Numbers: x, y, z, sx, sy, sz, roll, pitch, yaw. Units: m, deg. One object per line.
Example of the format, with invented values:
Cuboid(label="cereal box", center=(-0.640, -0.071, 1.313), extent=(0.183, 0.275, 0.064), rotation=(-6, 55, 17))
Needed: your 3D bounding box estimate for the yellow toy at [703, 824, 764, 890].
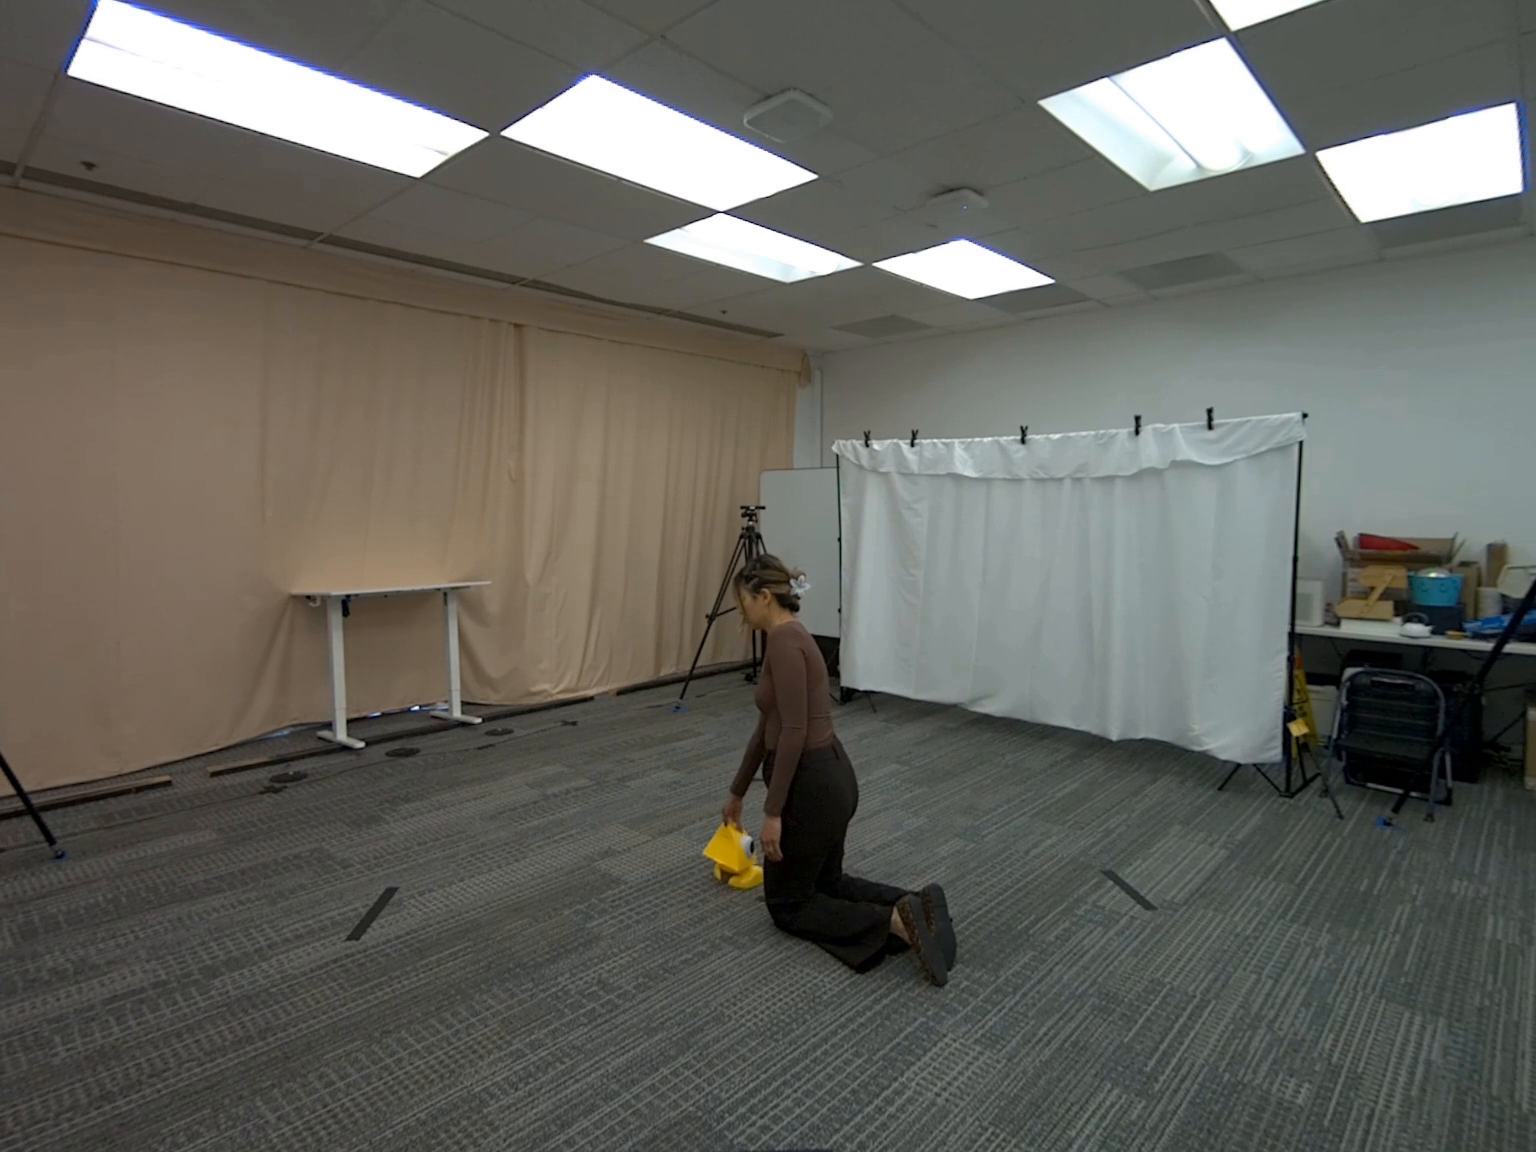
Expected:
Cuboid(label="yellow toy", center=(-0.108, 1.017, 3.152), extent=(0.187, 0.230, 0.211), rotation=(-3, 4, -42))
